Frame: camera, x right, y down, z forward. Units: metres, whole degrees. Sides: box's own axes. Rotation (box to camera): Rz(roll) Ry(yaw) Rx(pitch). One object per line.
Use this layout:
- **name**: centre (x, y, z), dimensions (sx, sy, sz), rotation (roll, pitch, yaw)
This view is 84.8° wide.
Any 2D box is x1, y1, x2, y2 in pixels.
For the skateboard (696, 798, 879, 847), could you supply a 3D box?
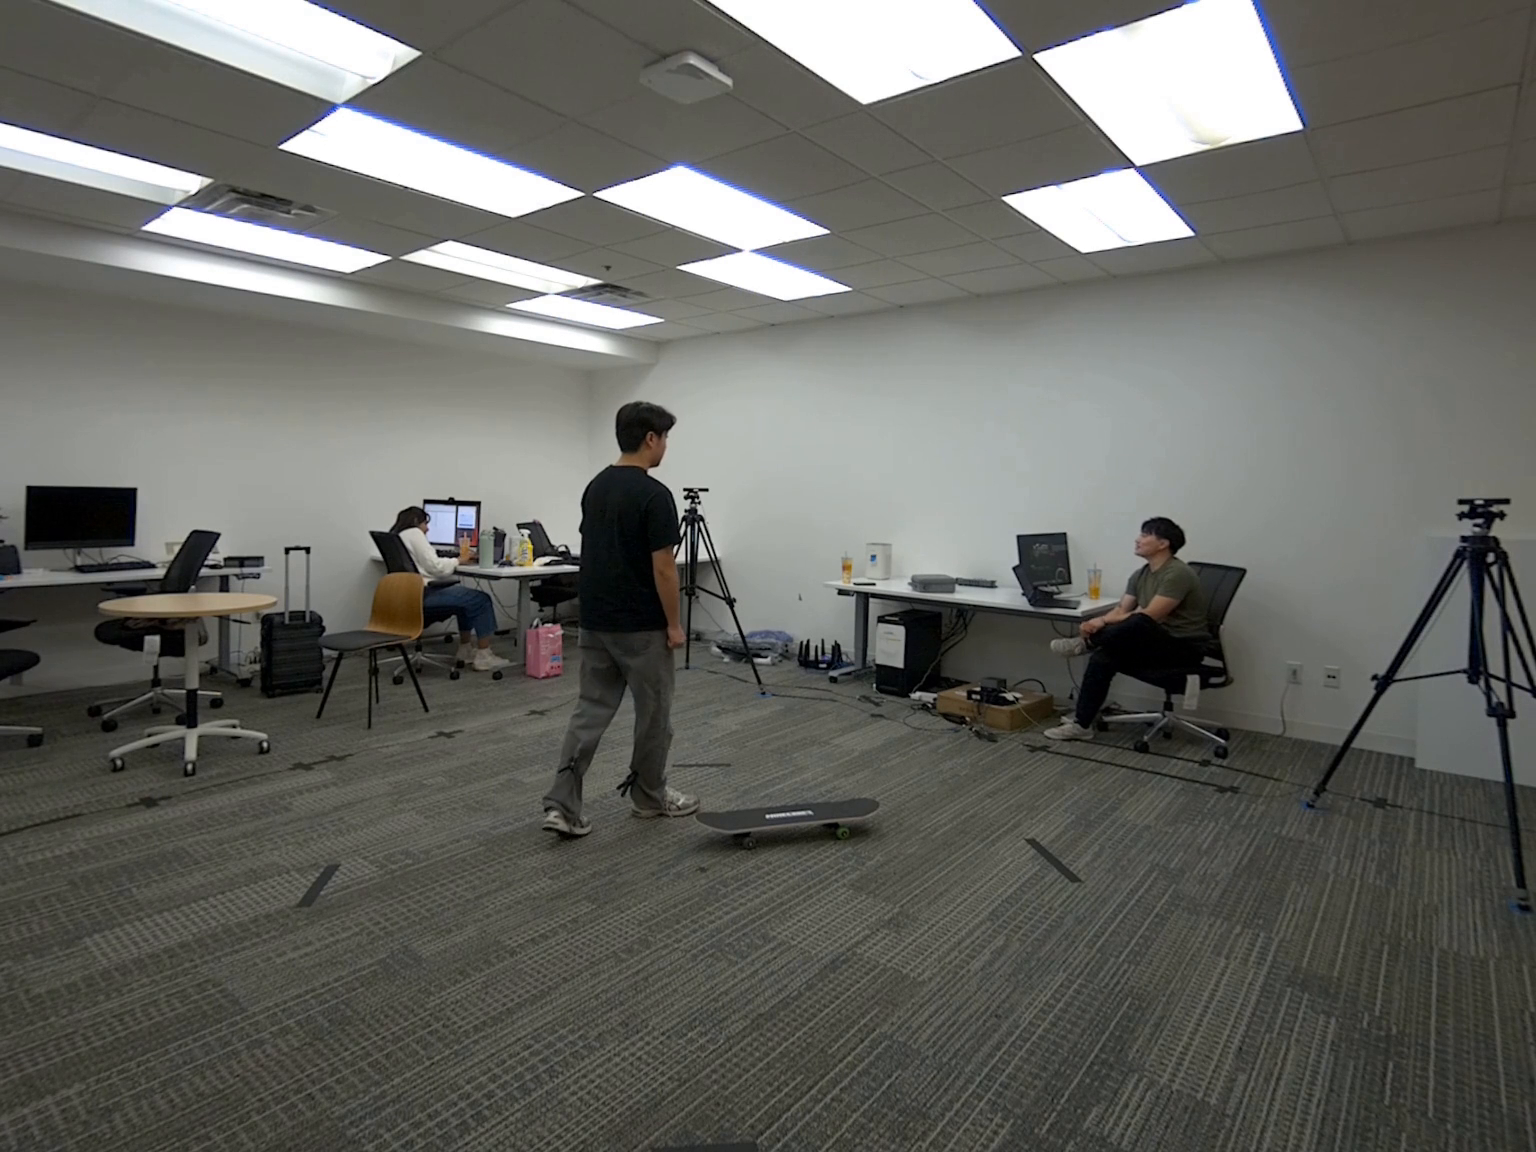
- **skateboard**: centre (0.075, 0.988, 3.425), dimensions (0.772, 0.110, 0.197), rotation (-1, 5, -17)
